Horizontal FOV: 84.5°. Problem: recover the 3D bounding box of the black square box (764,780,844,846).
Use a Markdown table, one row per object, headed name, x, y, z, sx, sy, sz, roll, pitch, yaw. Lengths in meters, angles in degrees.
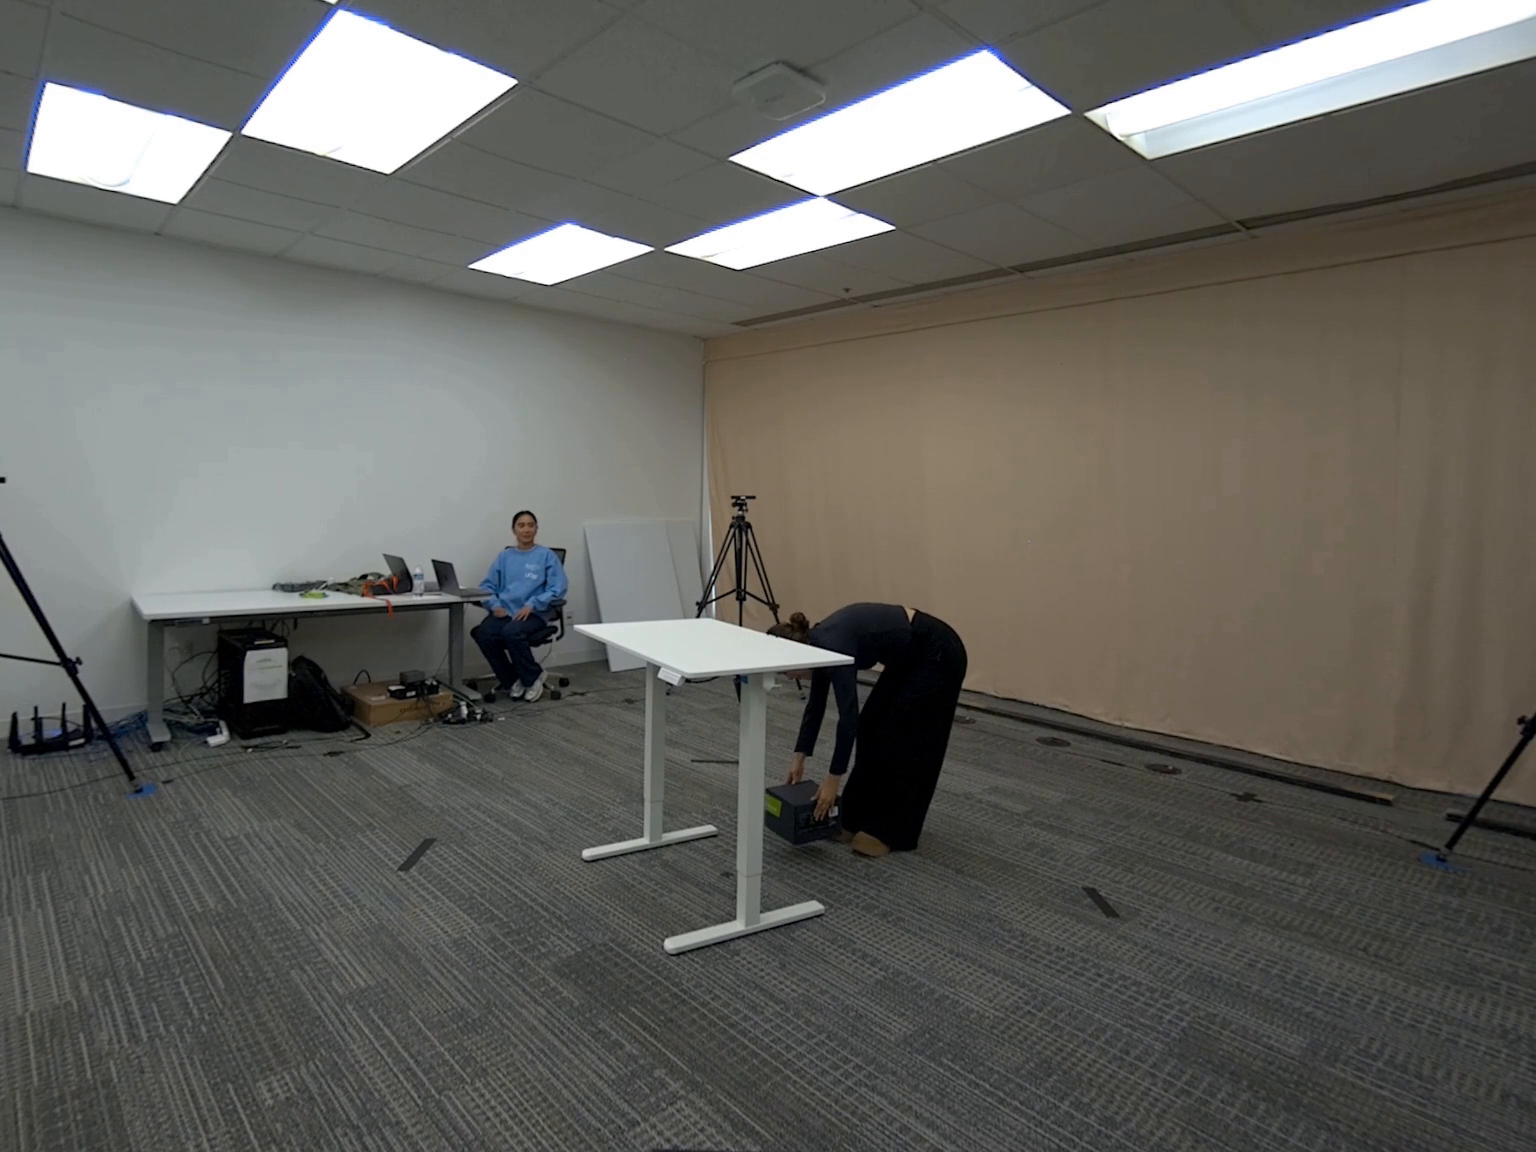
| name | x | y | z | sx | sy | sz | roll | pitch | yaw |
| --- | --- | --- | --- | --- | --- | --- | --- | --- | --- |
| black square box | 0.133 | 0.921 | 3.292 | 0.213 | 0.155 | 0.233 | -3 | 5 | -29 |
